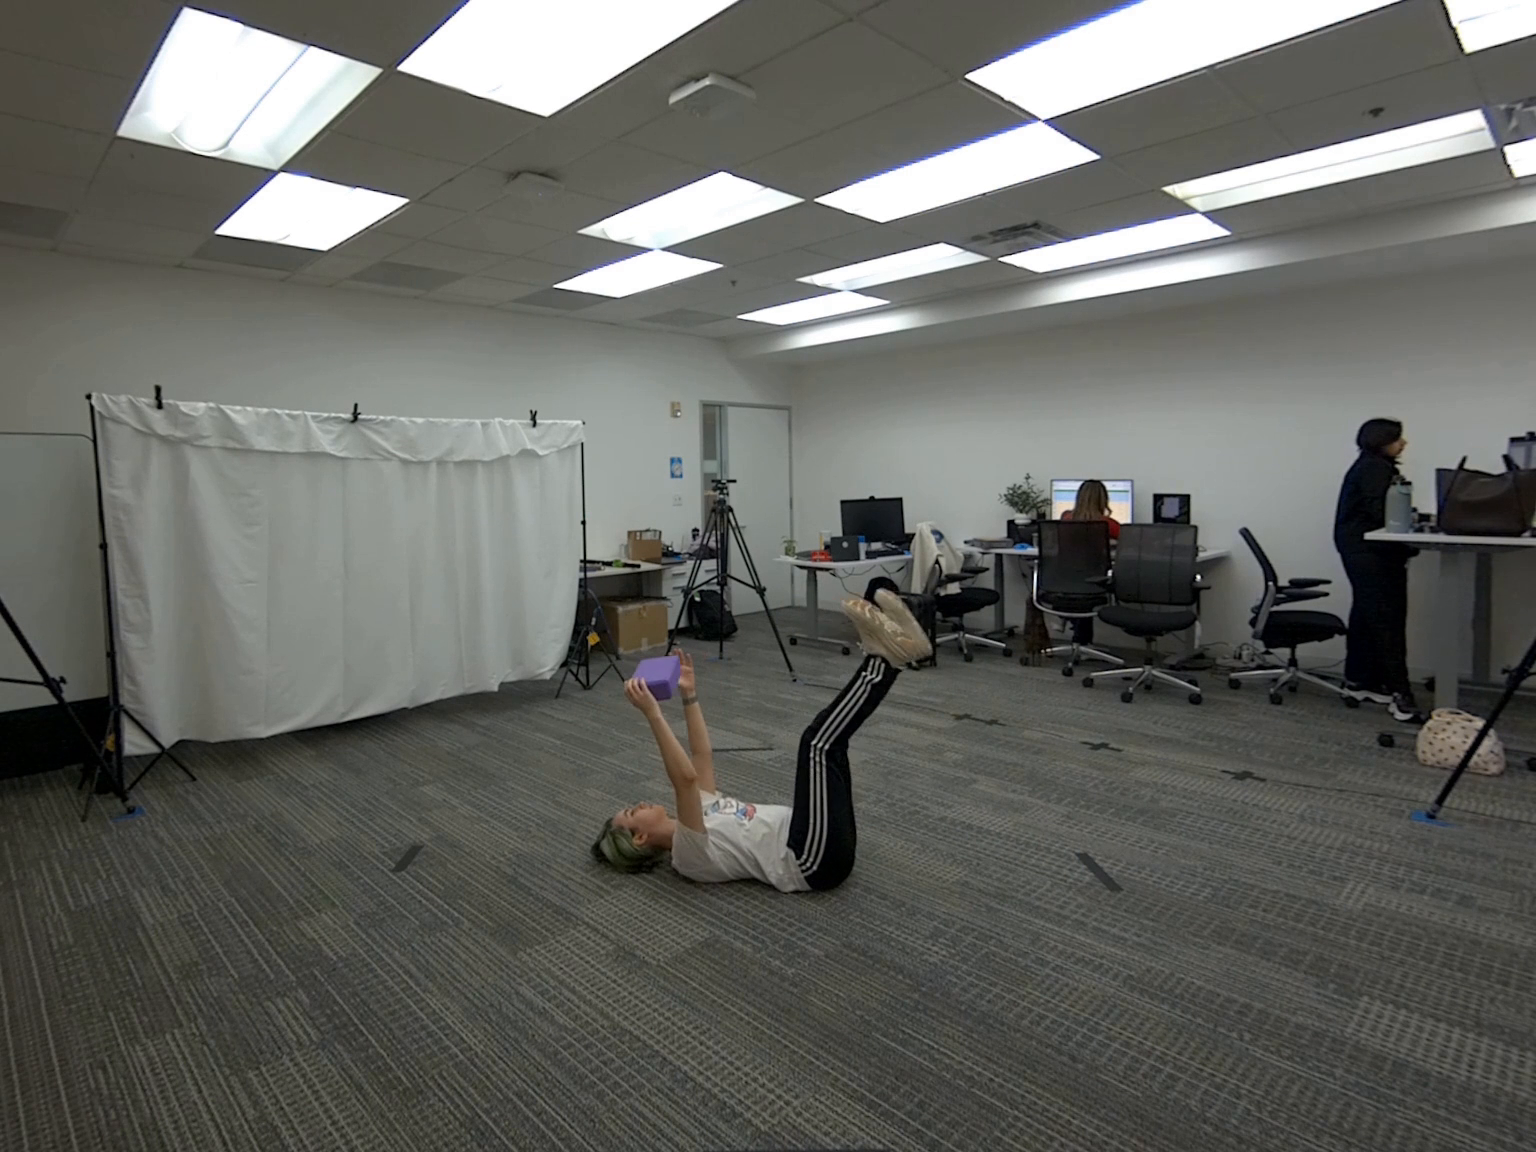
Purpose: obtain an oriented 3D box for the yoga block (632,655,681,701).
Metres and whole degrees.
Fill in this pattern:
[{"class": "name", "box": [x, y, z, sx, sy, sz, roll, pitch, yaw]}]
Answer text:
[{"class": "yoga block", "box": [-0.405, 0.366, 3.035, 0.150, 0.075, 0.231, -10, 15, 6]}]
